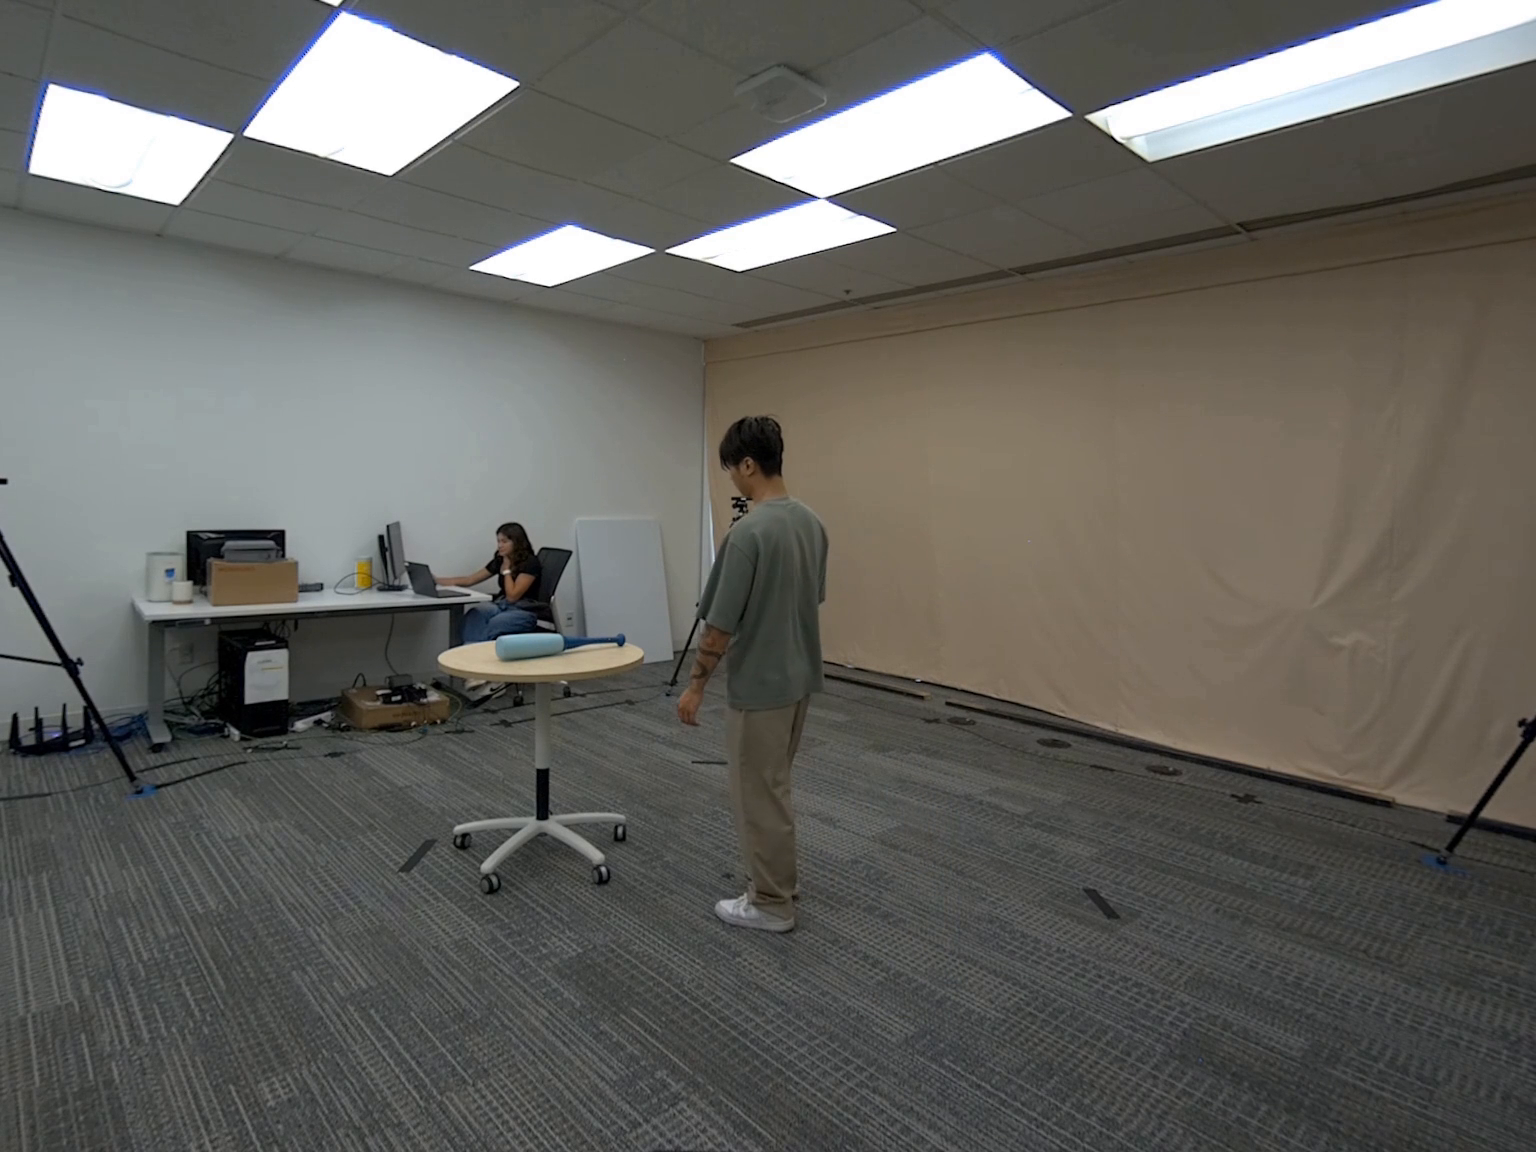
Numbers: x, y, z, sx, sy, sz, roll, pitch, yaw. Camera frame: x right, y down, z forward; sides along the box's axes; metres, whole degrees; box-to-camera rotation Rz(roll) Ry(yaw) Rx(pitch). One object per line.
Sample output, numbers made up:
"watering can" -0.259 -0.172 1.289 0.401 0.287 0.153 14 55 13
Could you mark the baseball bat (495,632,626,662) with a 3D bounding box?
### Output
"baseball bat" -0.785 0.260 3.225 0.530 0.089 0.091 0 4 -43
